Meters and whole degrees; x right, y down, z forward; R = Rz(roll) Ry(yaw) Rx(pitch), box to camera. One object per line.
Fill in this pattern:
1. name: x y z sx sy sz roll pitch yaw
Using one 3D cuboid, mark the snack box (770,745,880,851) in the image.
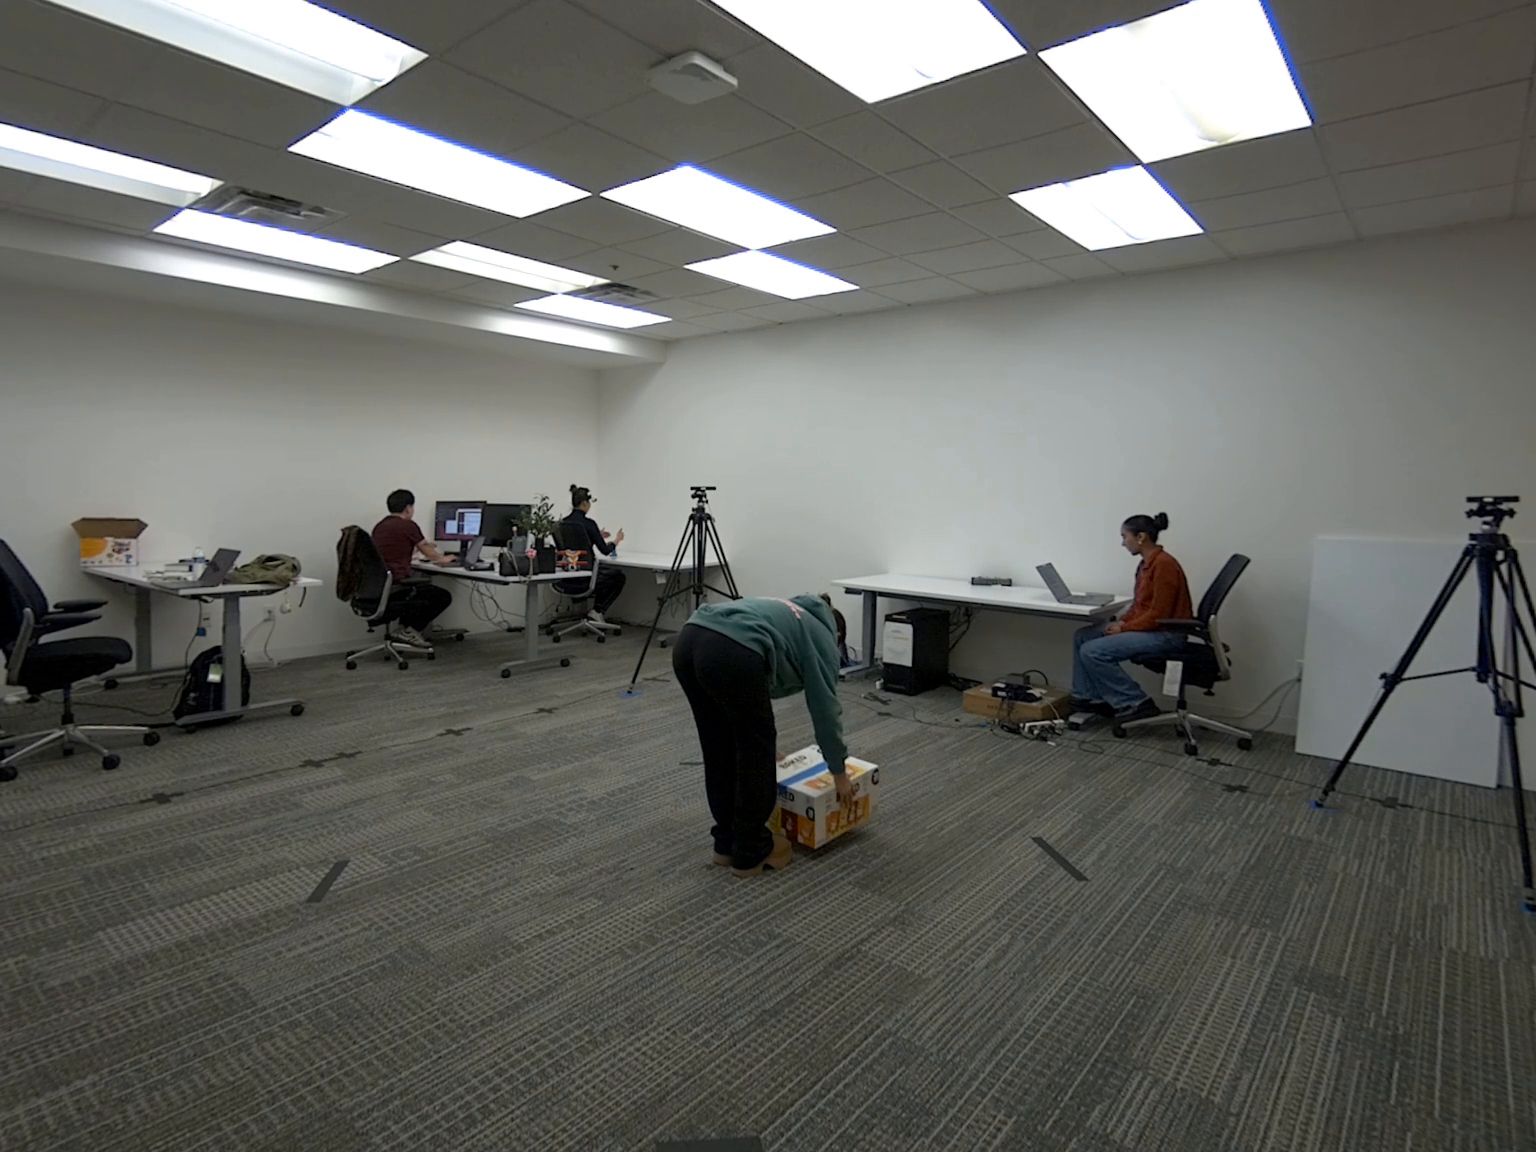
1. snack box: 0.181 0.855 3.408 0.352 0.204 0.394 8 13 44
